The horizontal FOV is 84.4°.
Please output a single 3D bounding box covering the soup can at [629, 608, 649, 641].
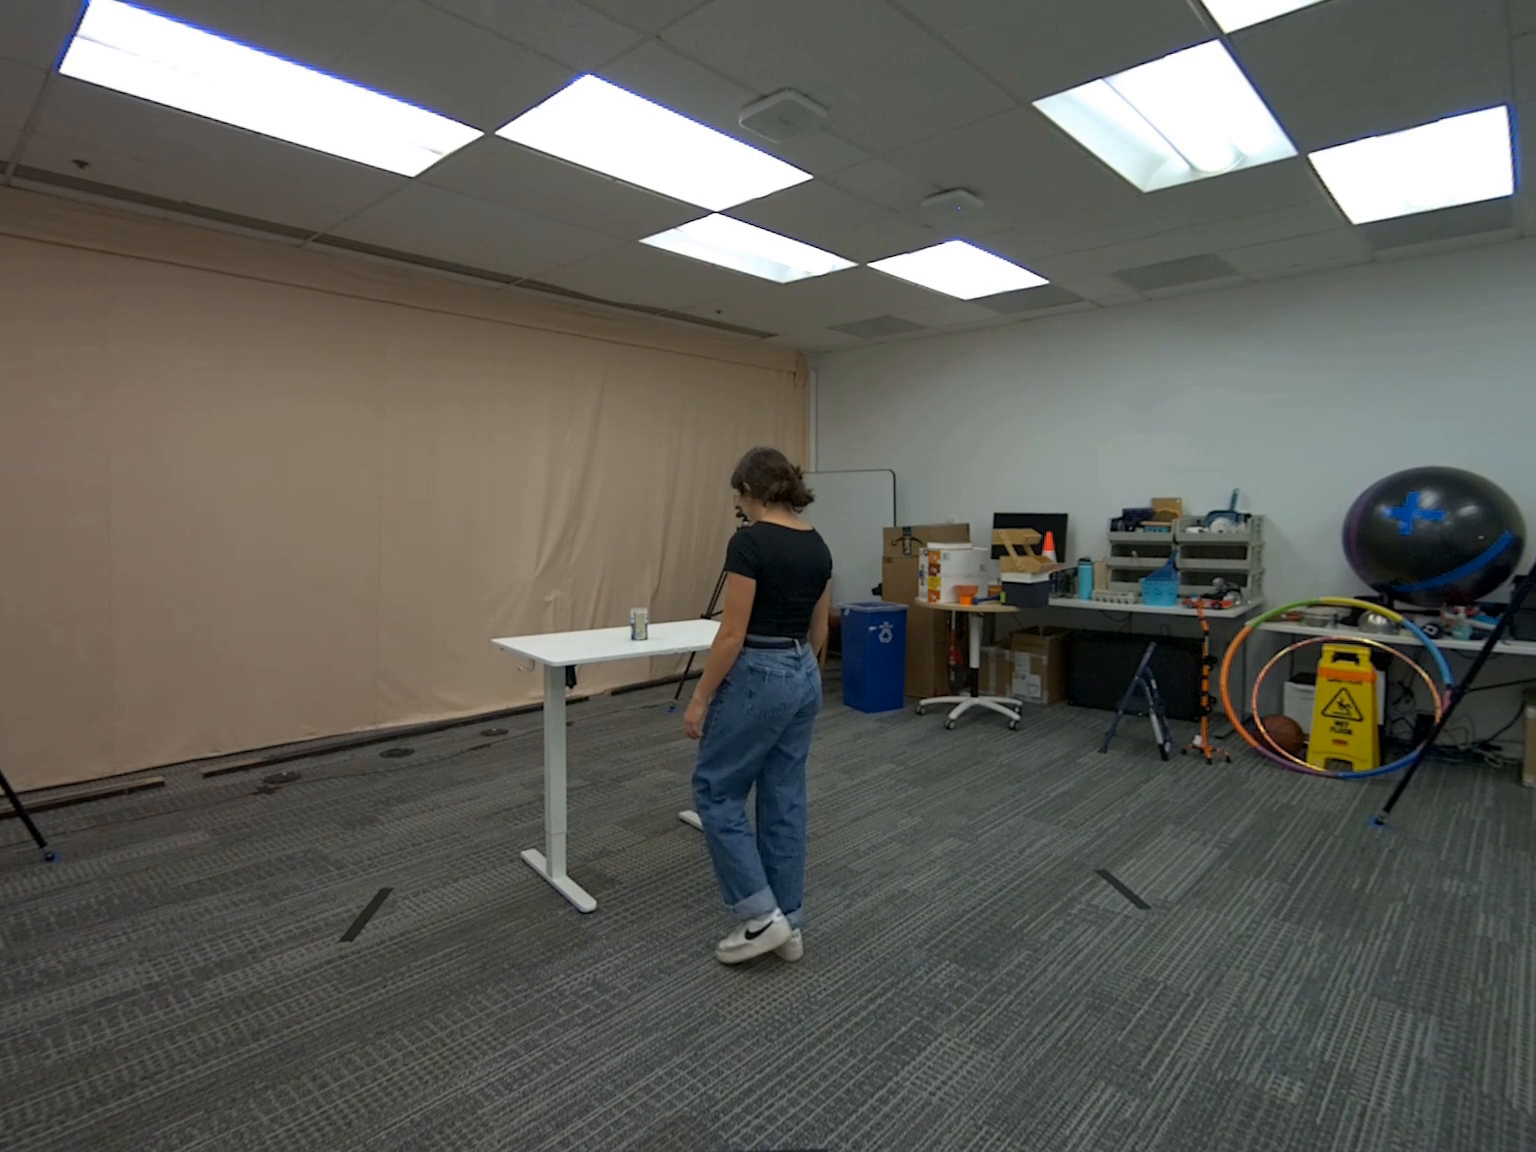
[{"bbox_3d":[-0.495,0.188,3.243,0.067,0.121,0.067,1,3,-2],"label":"soup can"}]
